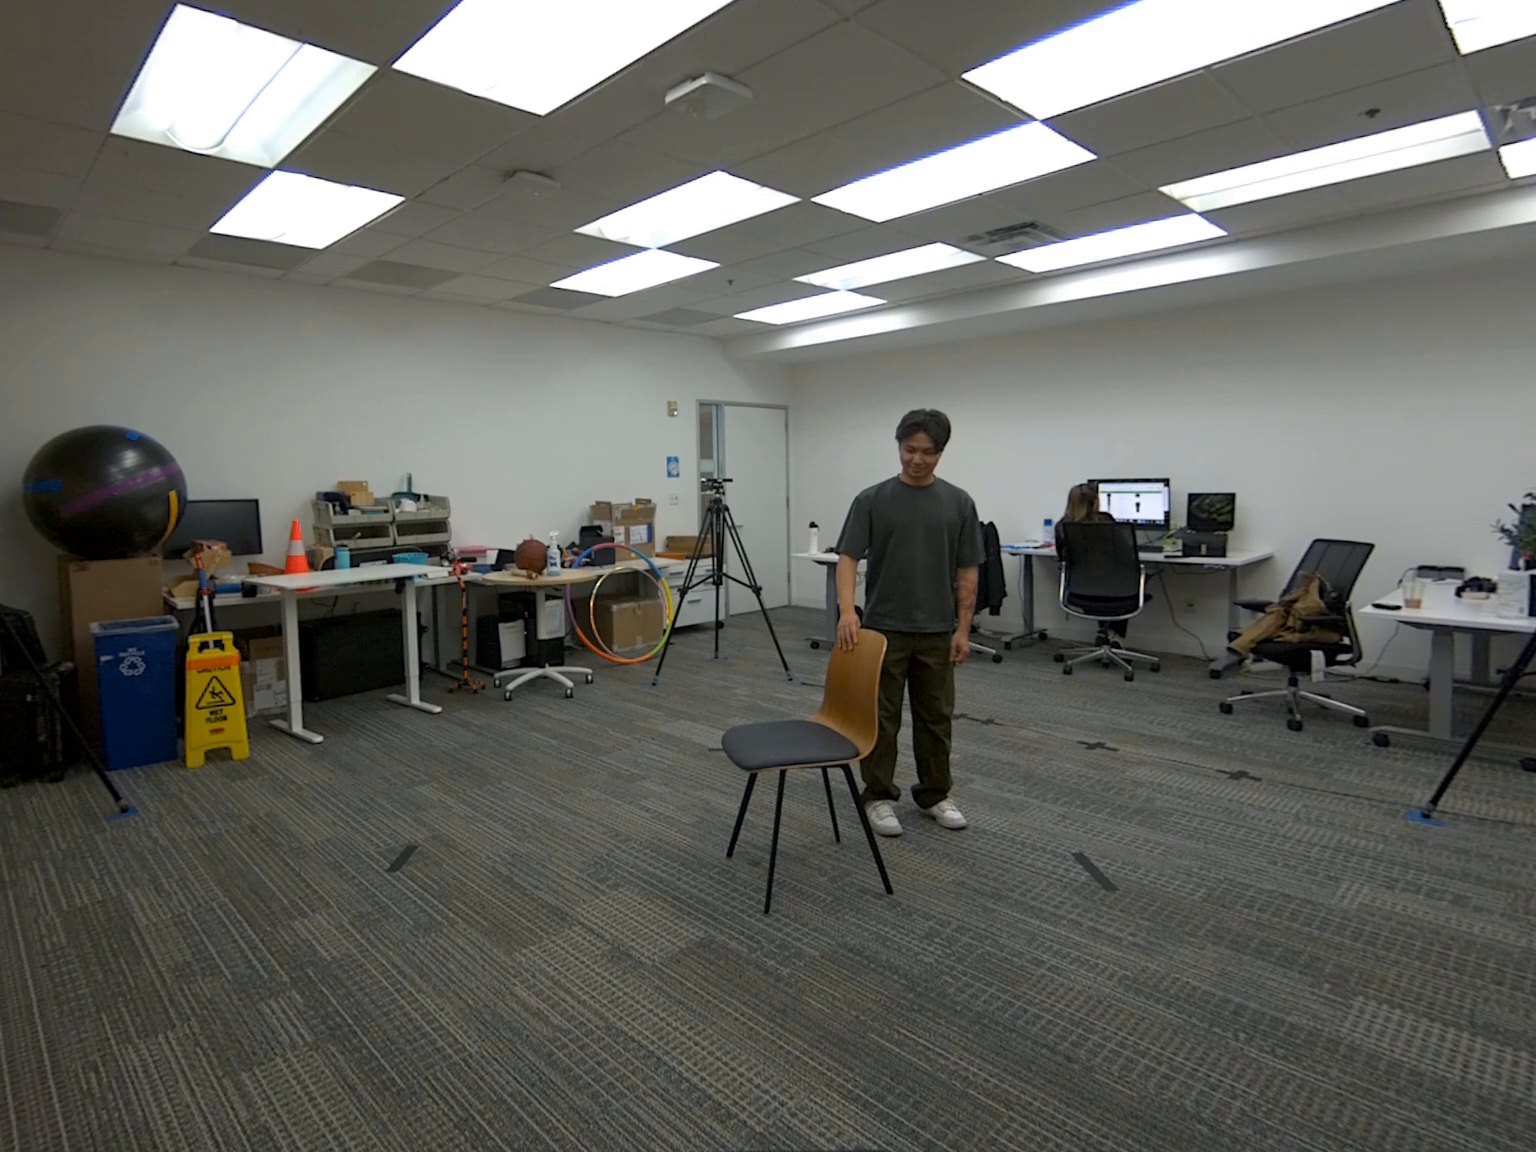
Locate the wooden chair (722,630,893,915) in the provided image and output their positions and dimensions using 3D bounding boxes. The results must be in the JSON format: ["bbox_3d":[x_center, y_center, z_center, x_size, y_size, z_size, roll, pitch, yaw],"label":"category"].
[{"bbox_3d":[0.120,0.628,2.976,0.514,0.875,0.487,2,4,-18],"label":"wooden chair"}]
